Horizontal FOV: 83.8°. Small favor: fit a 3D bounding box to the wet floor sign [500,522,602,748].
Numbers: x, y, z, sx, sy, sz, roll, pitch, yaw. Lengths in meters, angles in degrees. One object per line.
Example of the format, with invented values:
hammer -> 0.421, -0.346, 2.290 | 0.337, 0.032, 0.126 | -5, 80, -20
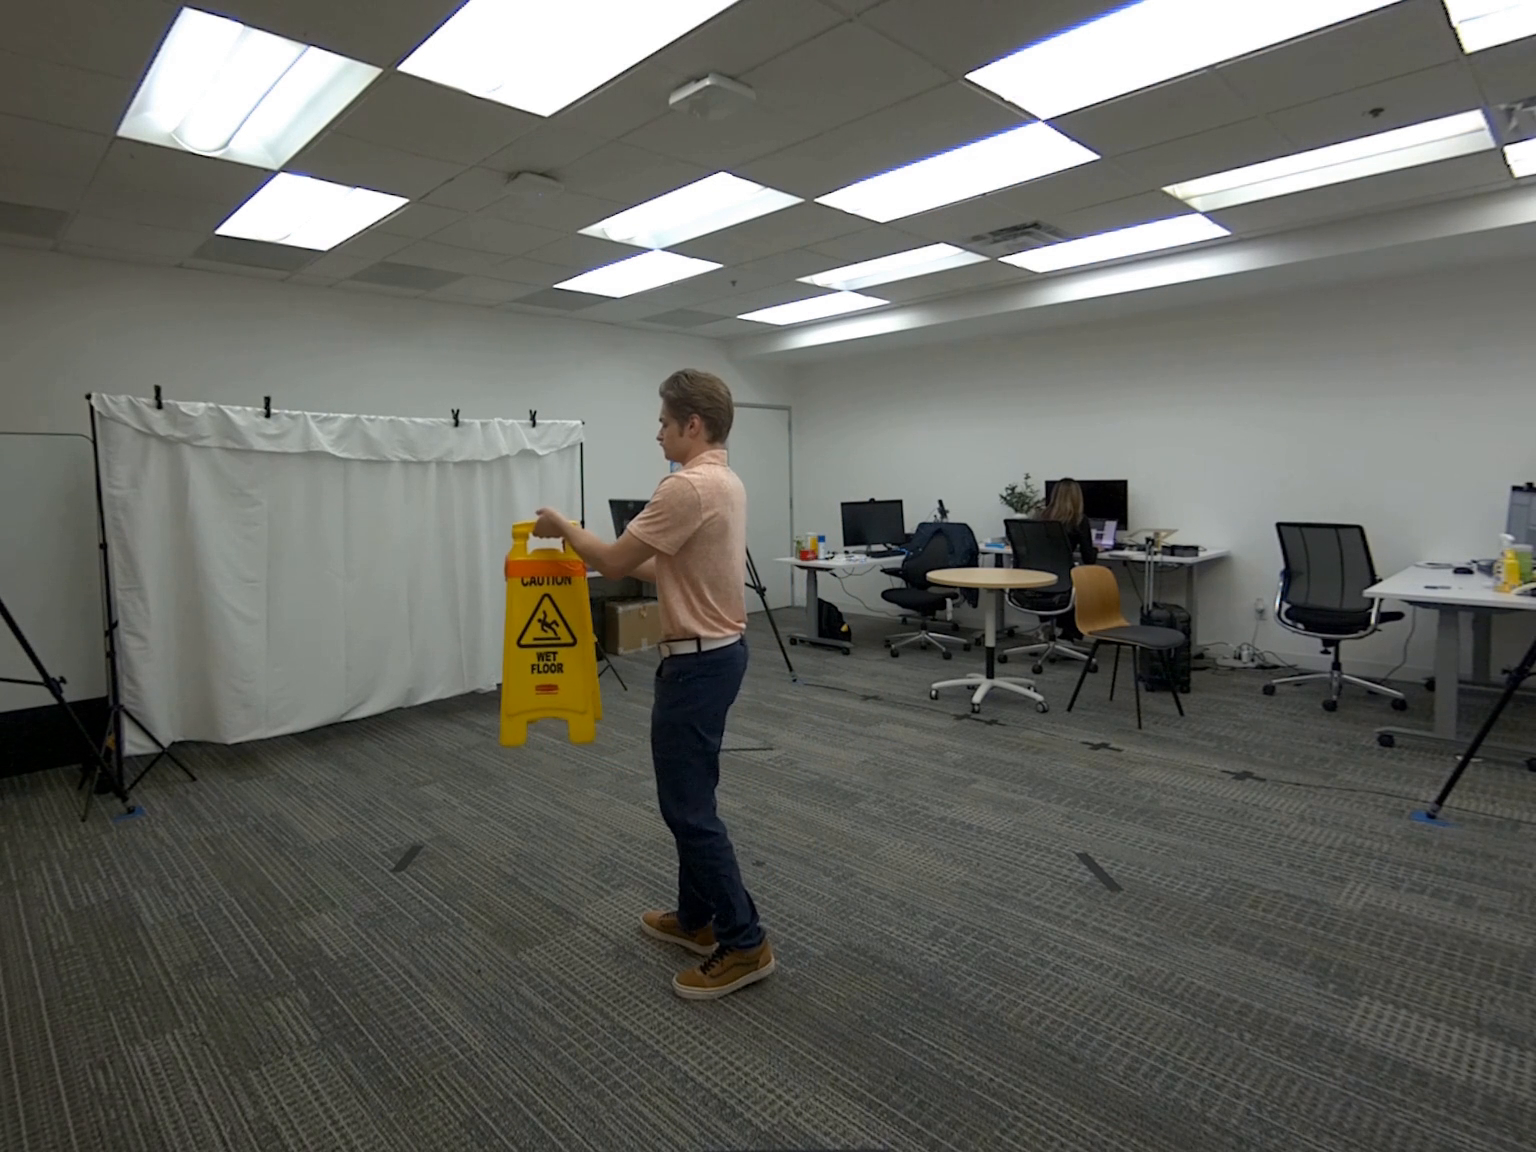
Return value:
wet floor sign -> -0.664, 0.158, 2.598 | 0.281, 0.644, 0.291 | -2, 3, -4
